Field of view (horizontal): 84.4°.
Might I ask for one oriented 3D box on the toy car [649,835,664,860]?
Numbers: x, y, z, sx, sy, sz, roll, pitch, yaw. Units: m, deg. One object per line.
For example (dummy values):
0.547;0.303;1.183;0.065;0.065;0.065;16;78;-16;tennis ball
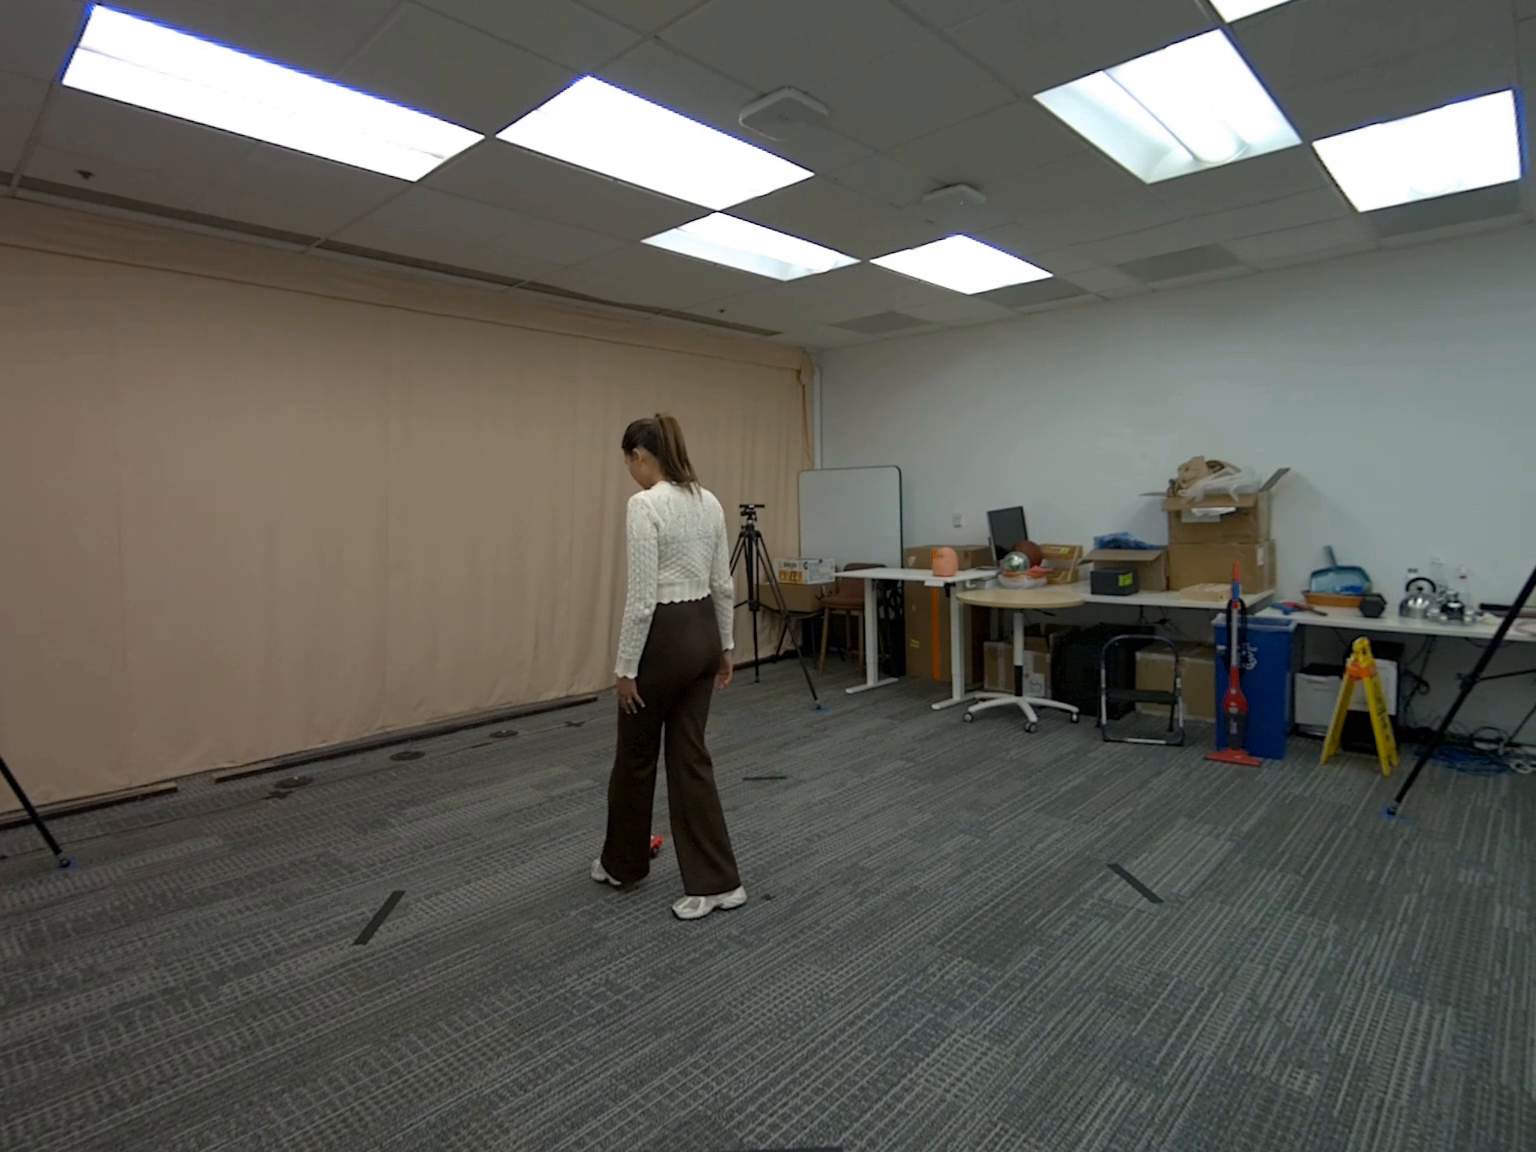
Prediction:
-0.529;1.092;3.327;0.134;0.082;0.249;1;16;35;toy car
